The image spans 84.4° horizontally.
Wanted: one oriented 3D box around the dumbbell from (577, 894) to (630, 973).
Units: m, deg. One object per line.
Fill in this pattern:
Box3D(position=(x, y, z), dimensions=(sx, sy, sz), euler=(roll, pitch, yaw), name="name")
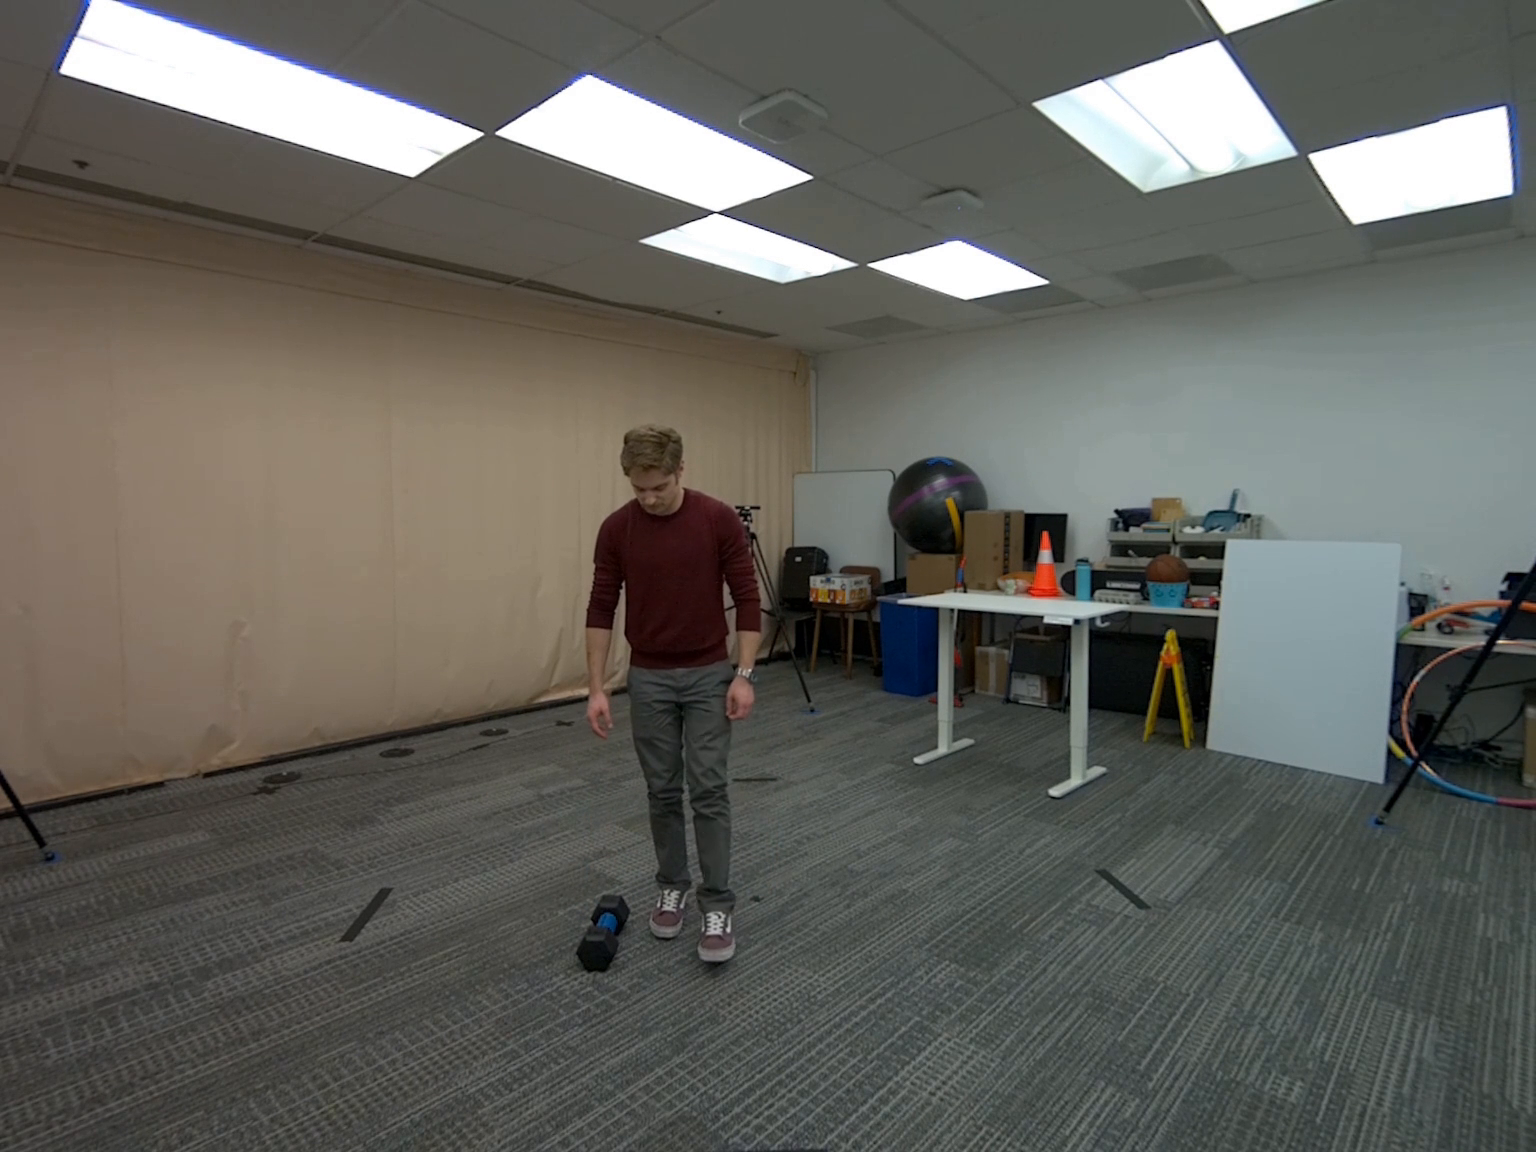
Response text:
Box3D(position=(-0.517, 1.125, 2.651), dimensions=(0.109, 0.123, 0.294), euler=(31, 4, -2), name="dumbbell")
